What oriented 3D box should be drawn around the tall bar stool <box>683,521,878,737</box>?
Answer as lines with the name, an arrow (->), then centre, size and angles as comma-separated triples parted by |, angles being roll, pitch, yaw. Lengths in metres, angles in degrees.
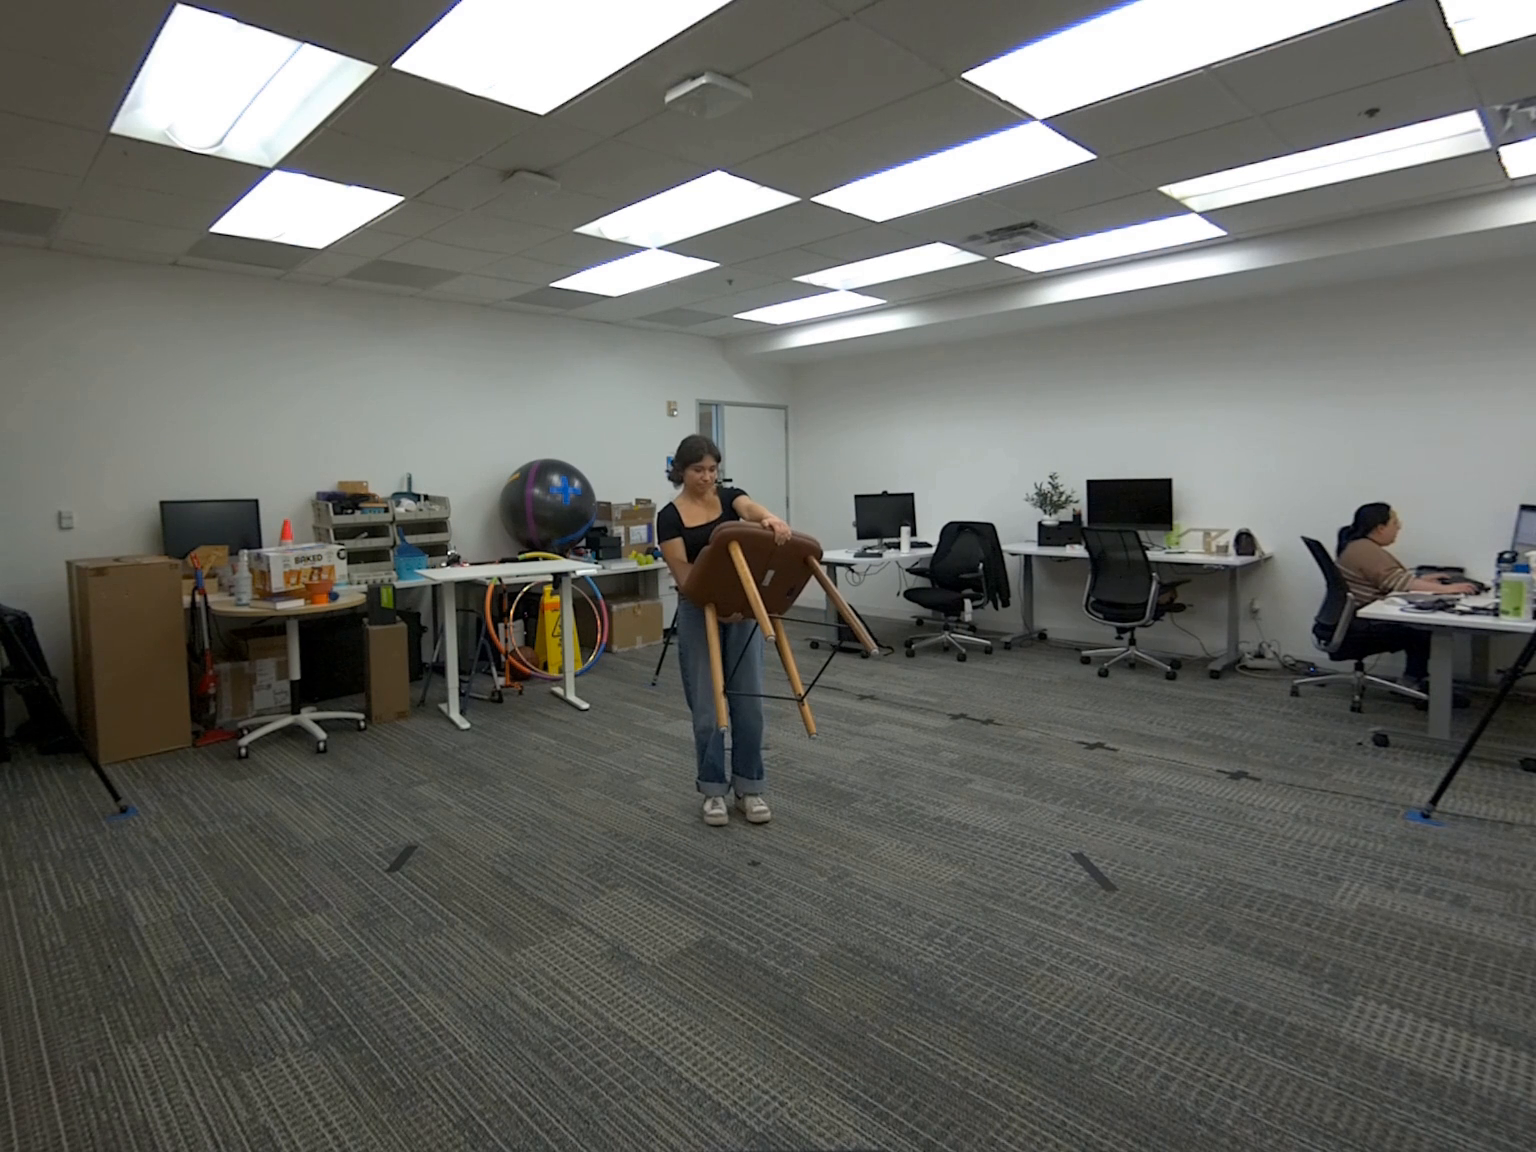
tall bar stool -> -0.023, 0.099, 3.092 | 0.445, 0.462, 0.922 | 9, 35, -25
